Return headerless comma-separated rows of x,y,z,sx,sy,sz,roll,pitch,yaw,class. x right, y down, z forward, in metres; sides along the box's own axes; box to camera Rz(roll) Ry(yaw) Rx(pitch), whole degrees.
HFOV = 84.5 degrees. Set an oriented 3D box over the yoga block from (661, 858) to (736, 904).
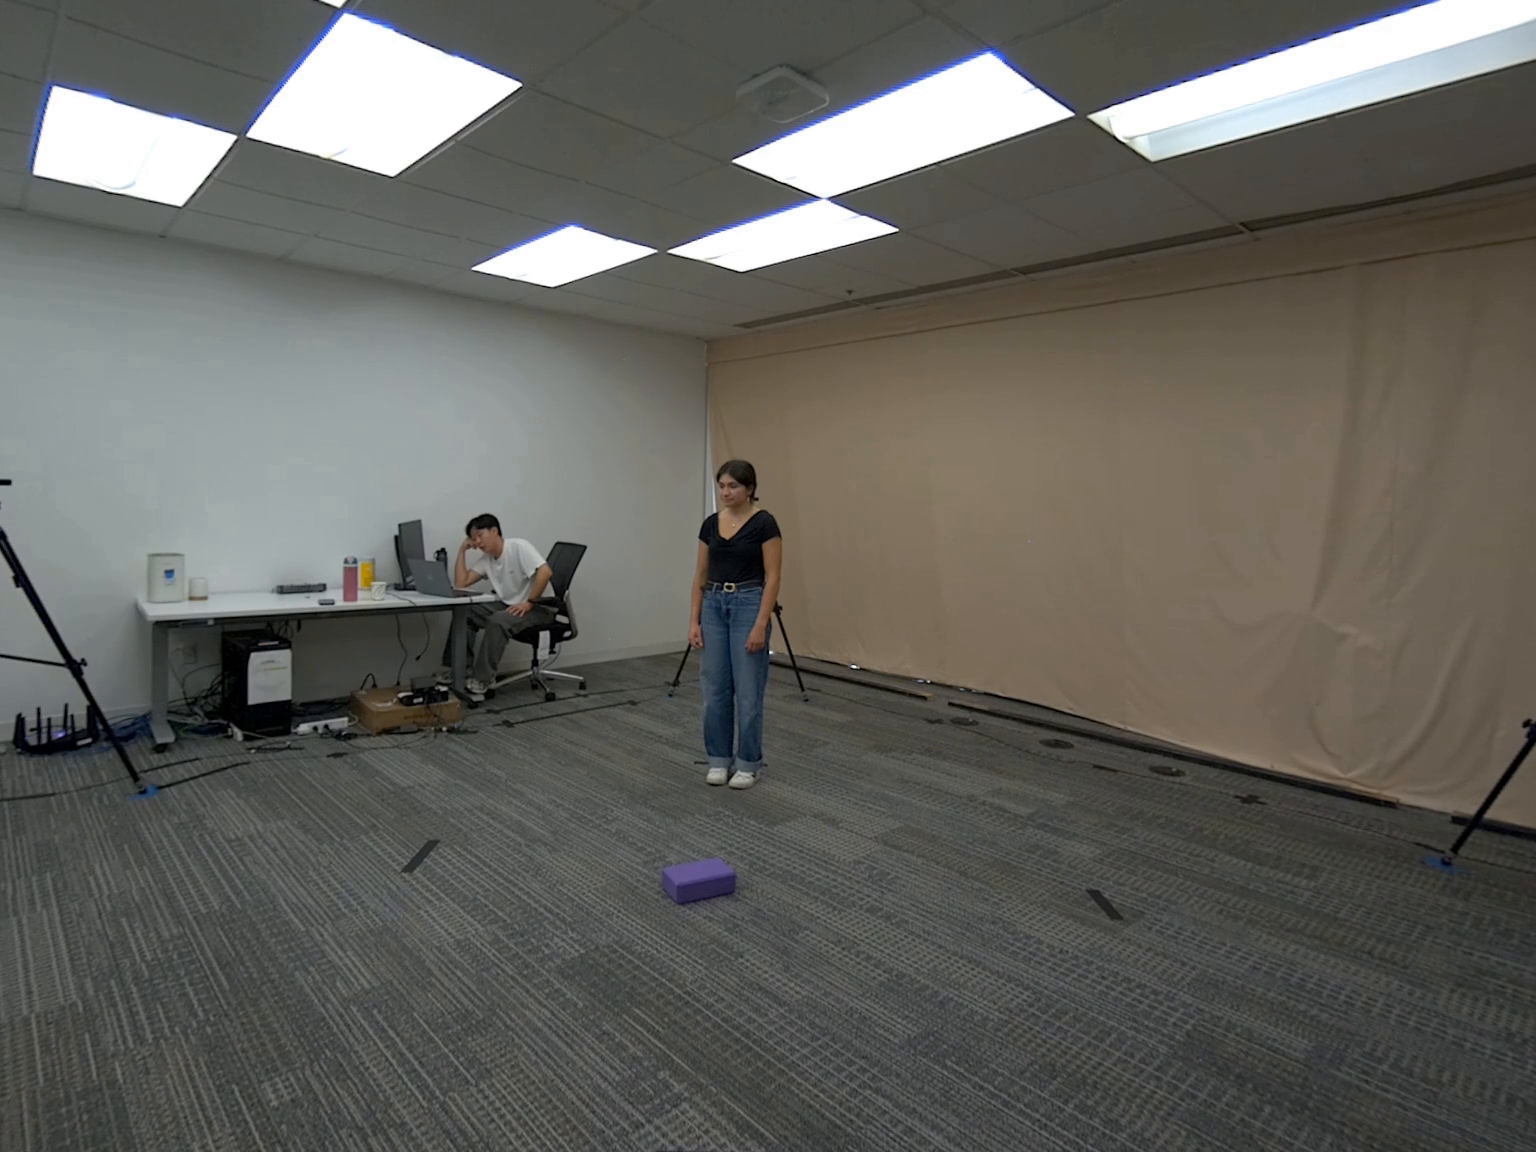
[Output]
-0.257,1.081,2.973,0.225,0.076,0.152,-2,6,-28,yoga block
